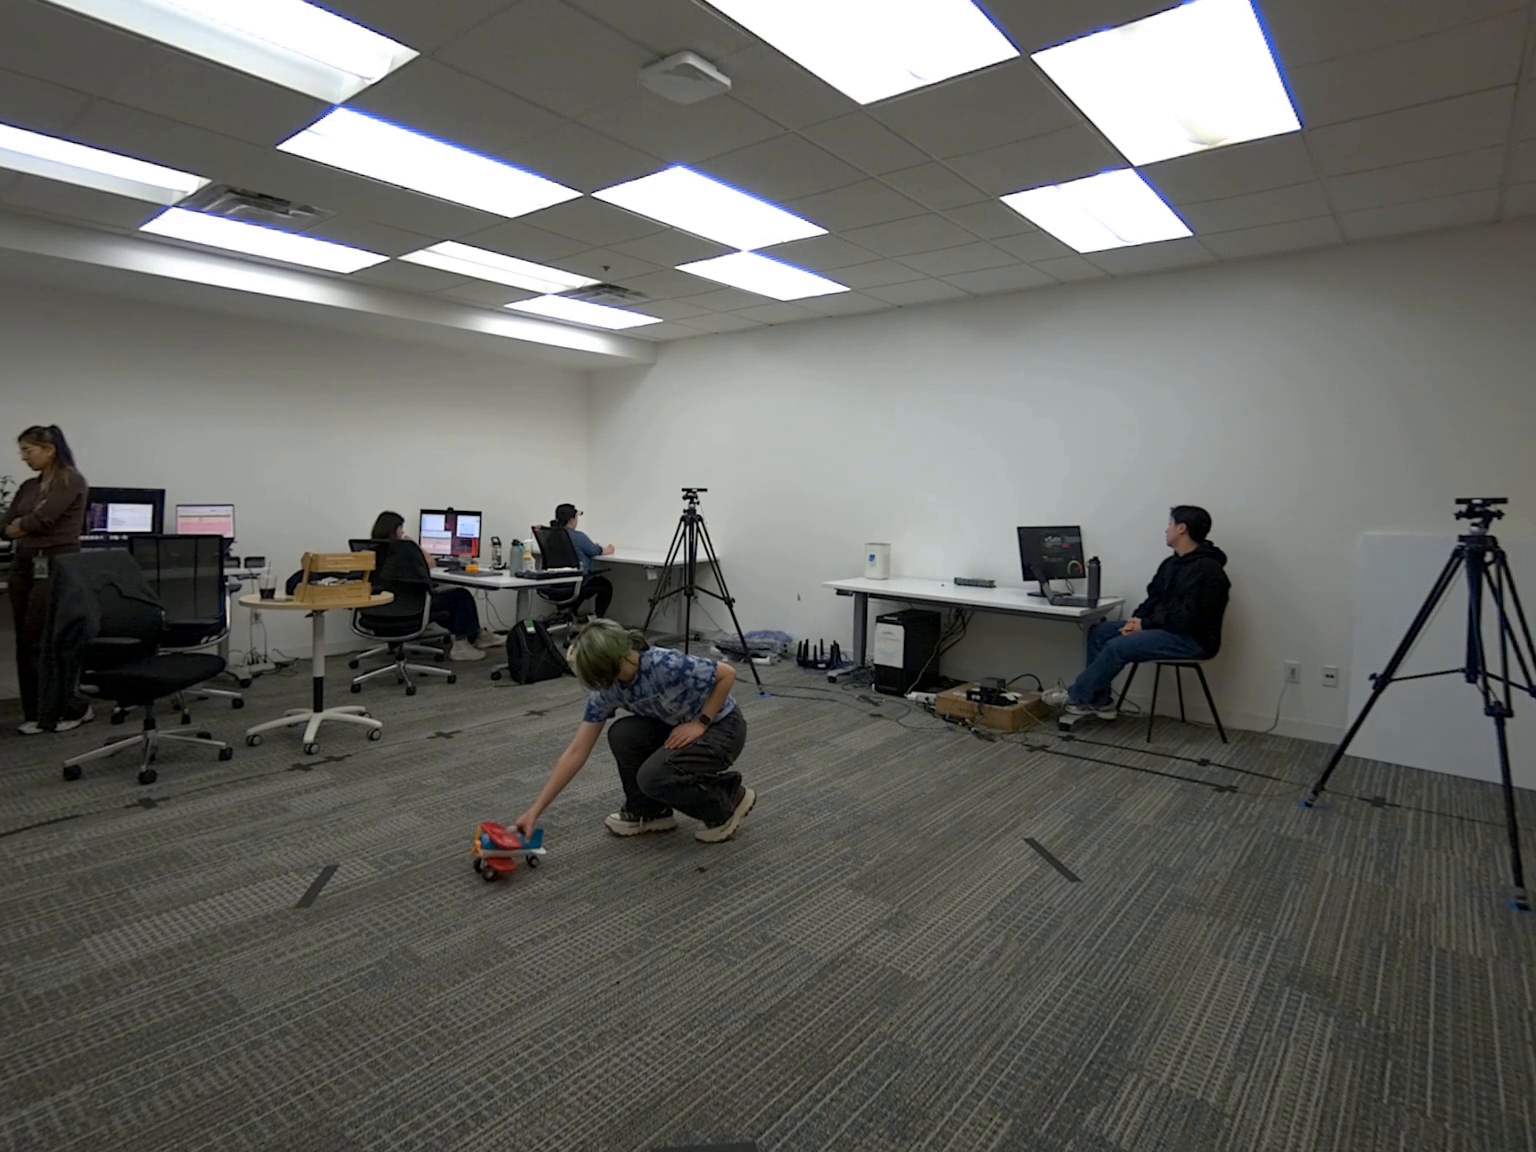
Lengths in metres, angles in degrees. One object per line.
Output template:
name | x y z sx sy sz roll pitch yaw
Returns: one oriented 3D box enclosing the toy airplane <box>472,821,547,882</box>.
toy airplane | -0.967 0.988 3.083 0.258 0.156 0.253 1 6 26
